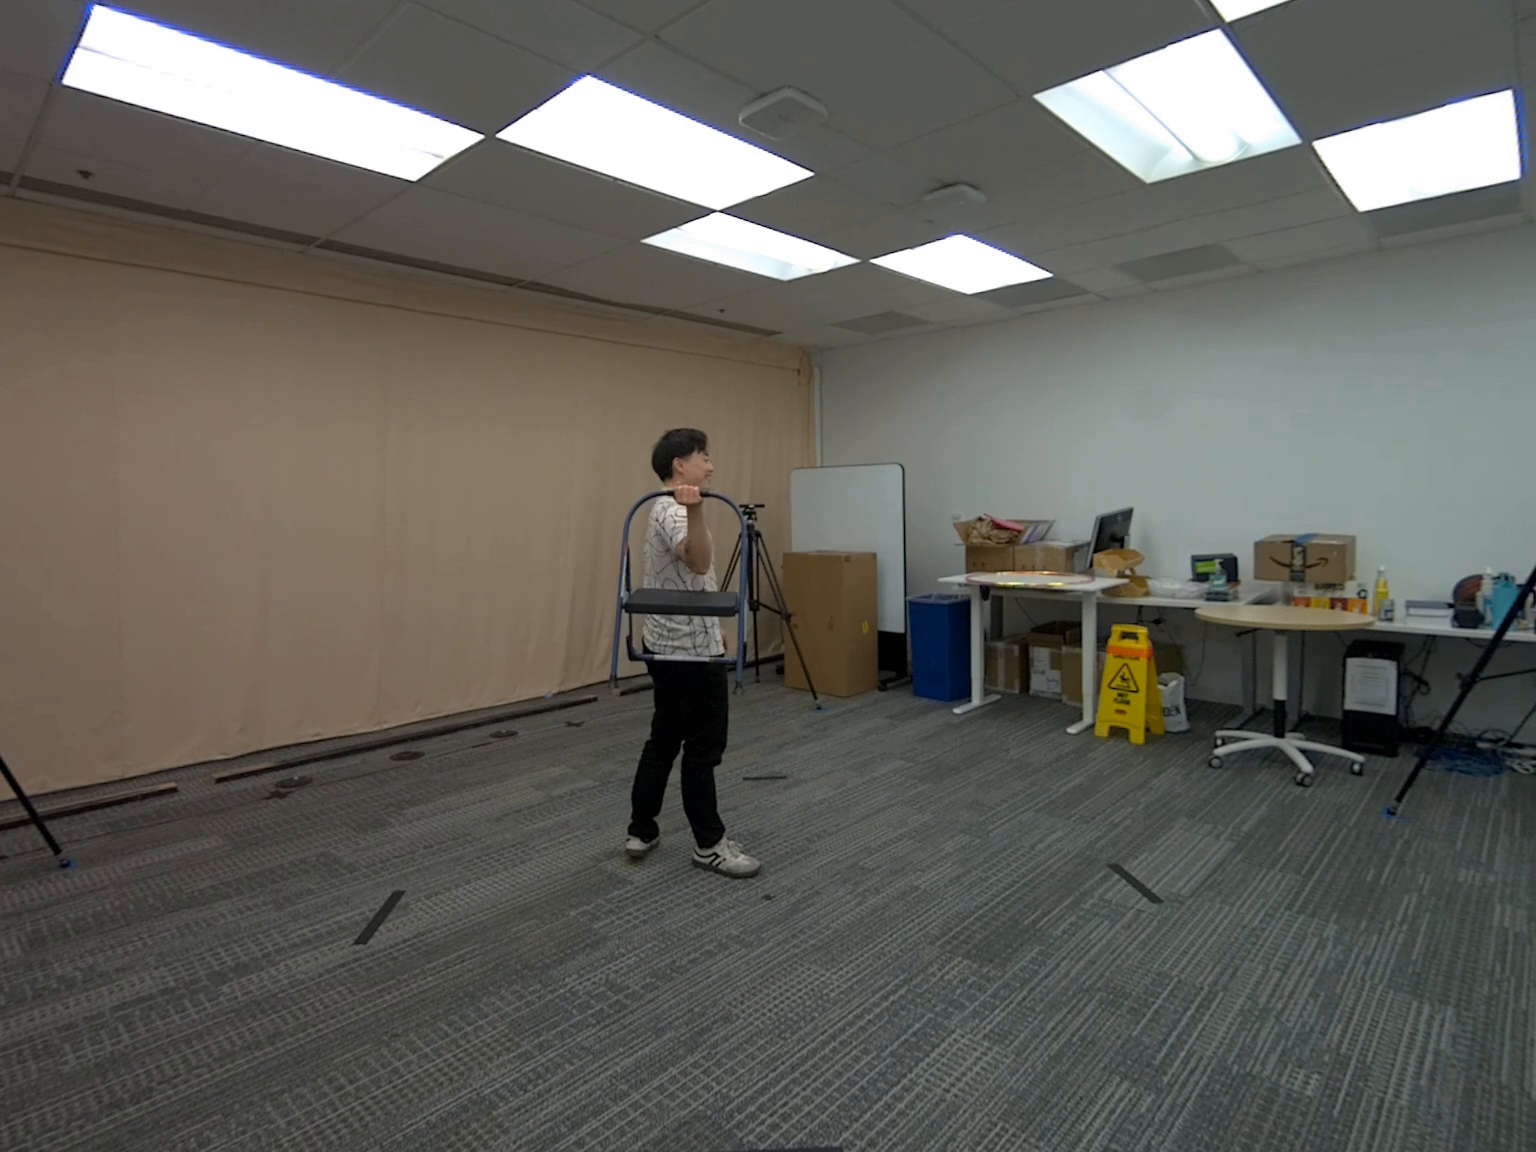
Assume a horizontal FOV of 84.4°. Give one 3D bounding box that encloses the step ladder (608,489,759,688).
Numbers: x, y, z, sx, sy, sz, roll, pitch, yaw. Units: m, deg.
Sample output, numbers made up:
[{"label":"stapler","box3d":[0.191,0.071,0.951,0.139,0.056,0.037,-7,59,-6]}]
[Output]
[{"label":"step ladder","box3d":[-0.261,0.023,2.743,0.432,0.604,0.350,2,6,1]}]
